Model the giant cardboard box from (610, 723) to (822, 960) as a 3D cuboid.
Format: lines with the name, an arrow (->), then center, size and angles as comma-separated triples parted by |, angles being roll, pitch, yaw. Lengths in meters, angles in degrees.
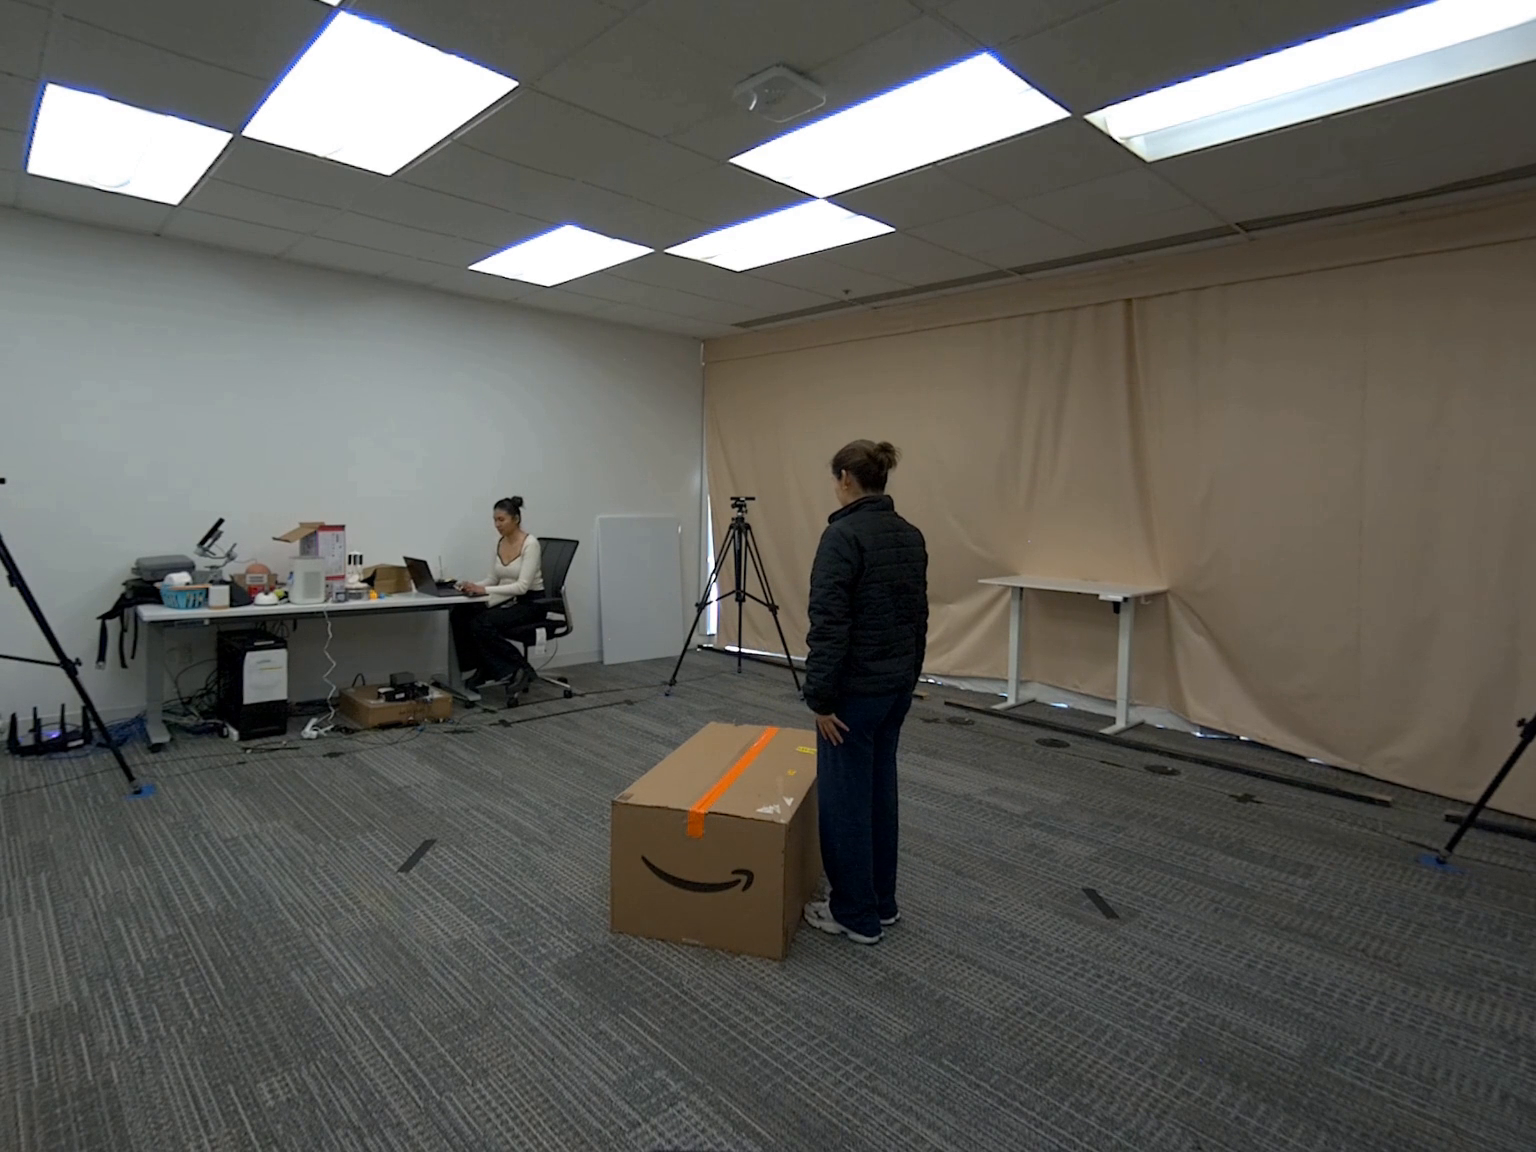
giant cardboard box -> -0.107, 0.893, 3.074 | 0.584, 0.425, 1.016 | 3, 5, 14
